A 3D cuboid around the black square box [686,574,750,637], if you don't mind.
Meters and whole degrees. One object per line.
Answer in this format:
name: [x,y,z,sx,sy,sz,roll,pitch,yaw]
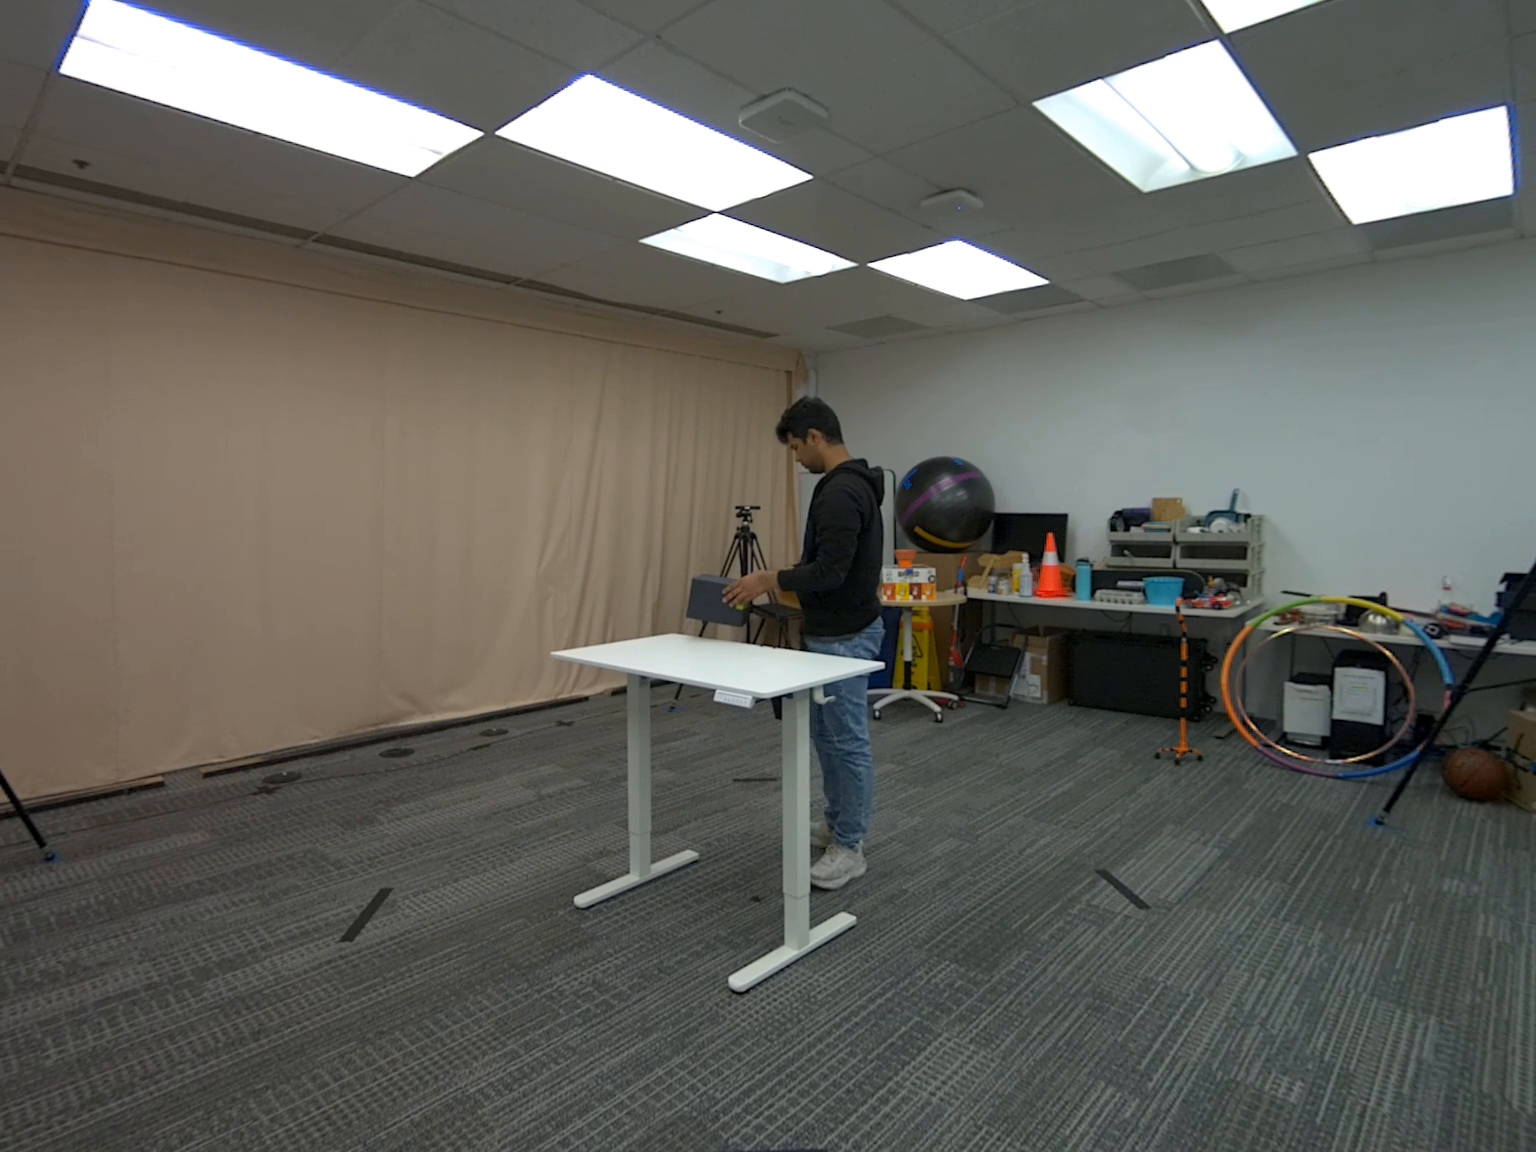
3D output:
black square box: [-0.173,0.097,3.306,0.219,0.155,0.226,9,7,7]
